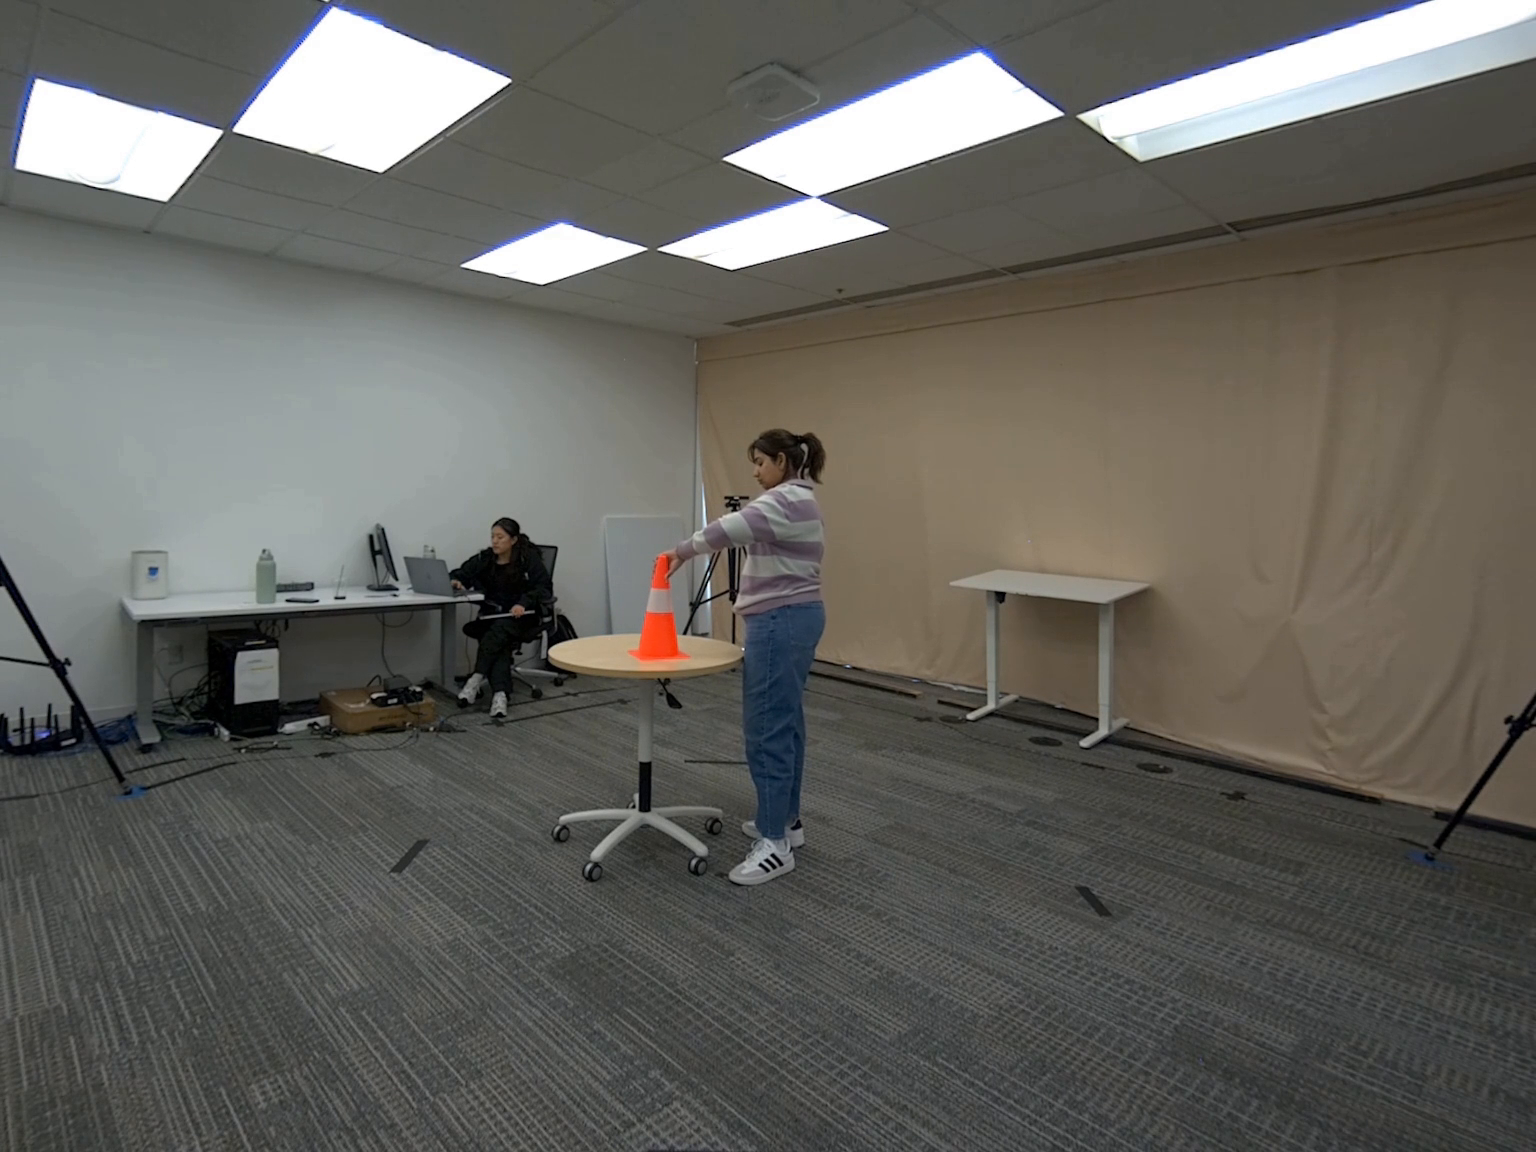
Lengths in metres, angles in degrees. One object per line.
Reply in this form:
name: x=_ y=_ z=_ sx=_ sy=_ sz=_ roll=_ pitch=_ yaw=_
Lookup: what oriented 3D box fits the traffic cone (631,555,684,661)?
traffic cone: x=-0.428 y=0.117 z=3.216 sx=0.201 sy=0.382 sz=0.207 roll=-2 pitch=5 yaw=-25
